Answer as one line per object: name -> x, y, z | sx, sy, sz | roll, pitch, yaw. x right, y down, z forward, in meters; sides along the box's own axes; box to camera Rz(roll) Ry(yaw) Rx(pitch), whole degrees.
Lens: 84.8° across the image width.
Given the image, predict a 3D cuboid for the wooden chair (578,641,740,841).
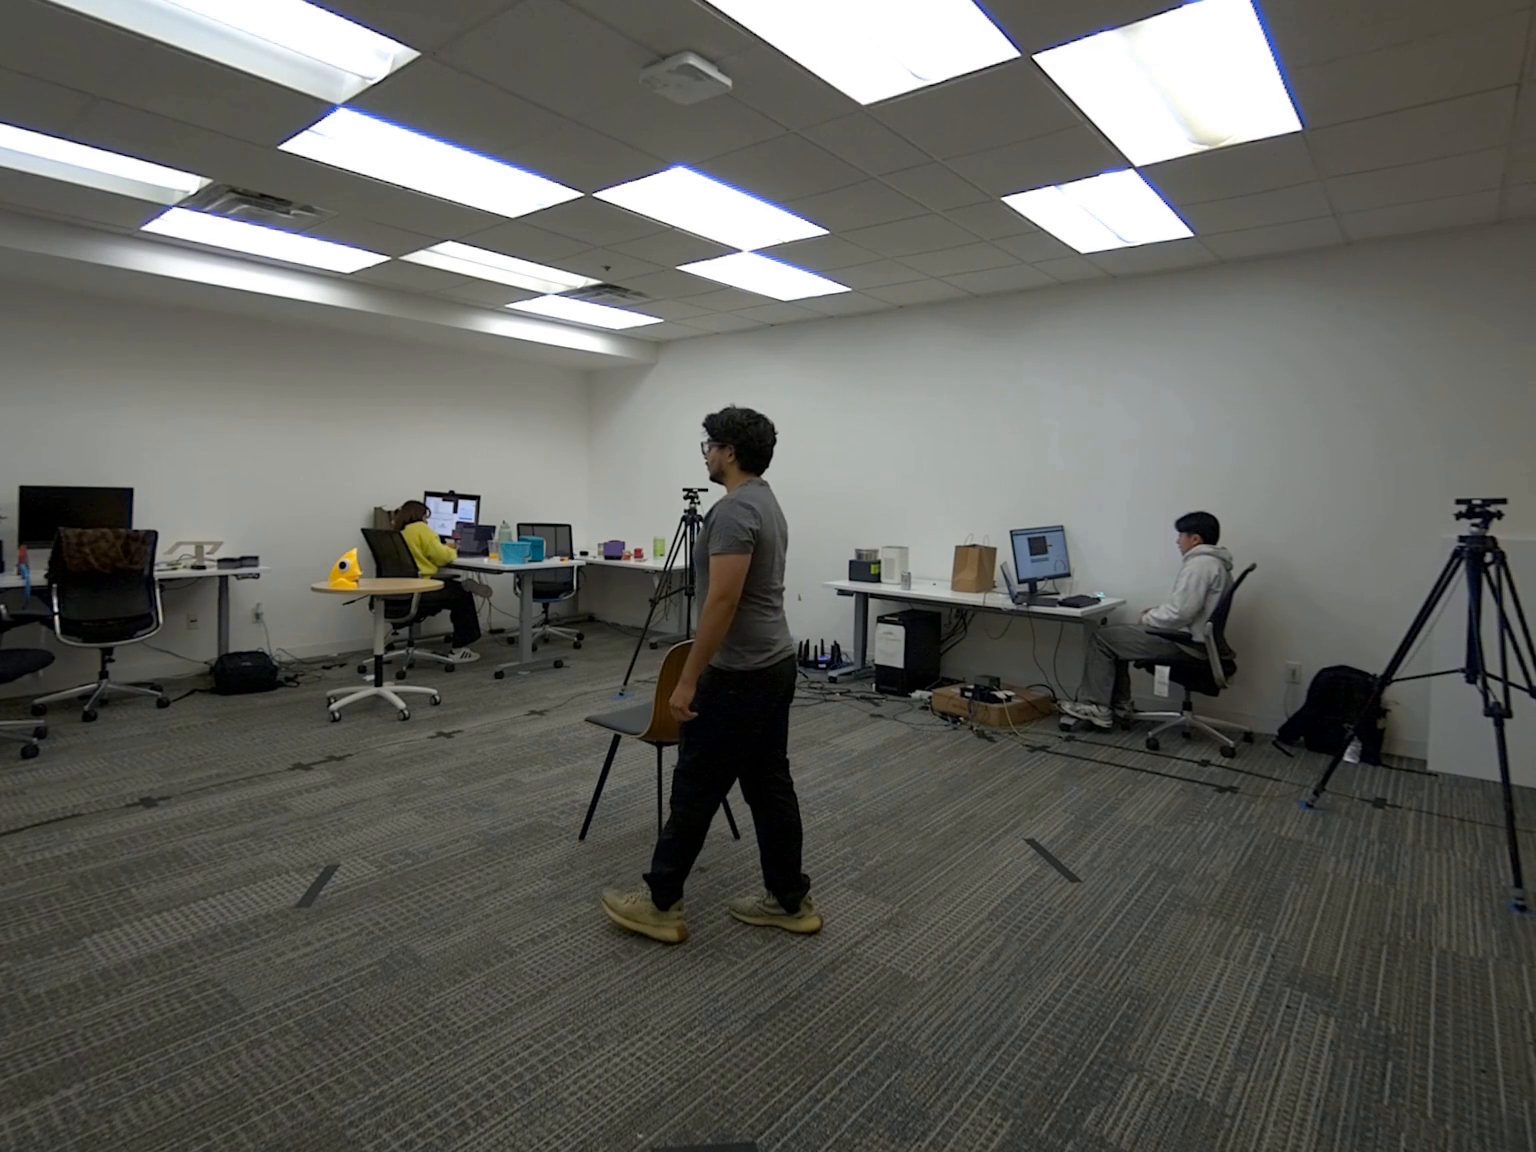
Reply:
wooden chair -> -0.437, 0.615, 3.346 | 0.542, 0.873, 0.464 | 10, 8, 39
